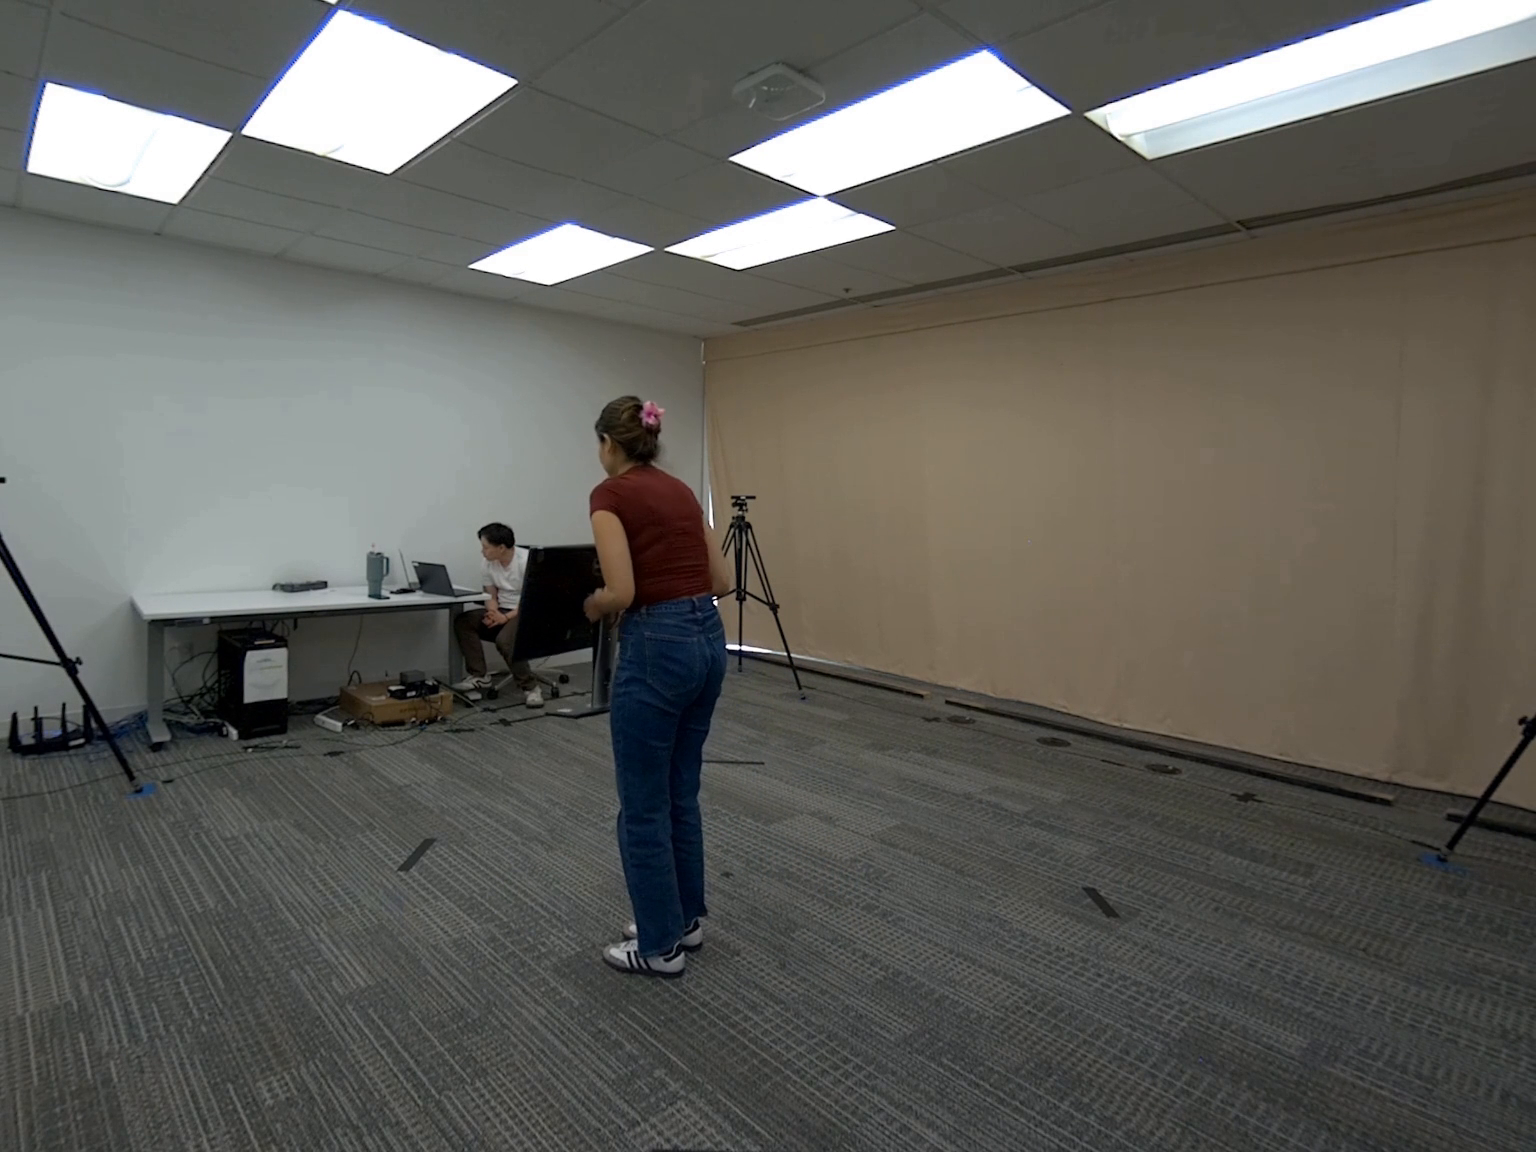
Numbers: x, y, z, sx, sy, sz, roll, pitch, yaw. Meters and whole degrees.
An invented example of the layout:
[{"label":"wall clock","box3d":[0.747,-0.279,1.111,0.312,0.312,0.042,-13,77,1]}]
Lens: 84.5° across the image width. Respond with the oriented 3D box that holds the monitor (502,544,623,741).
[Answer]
[{"label":"monitor","box3d":[-0.547,0.170,2.611,0.191,0.521,0.529,0,4,29]}]
